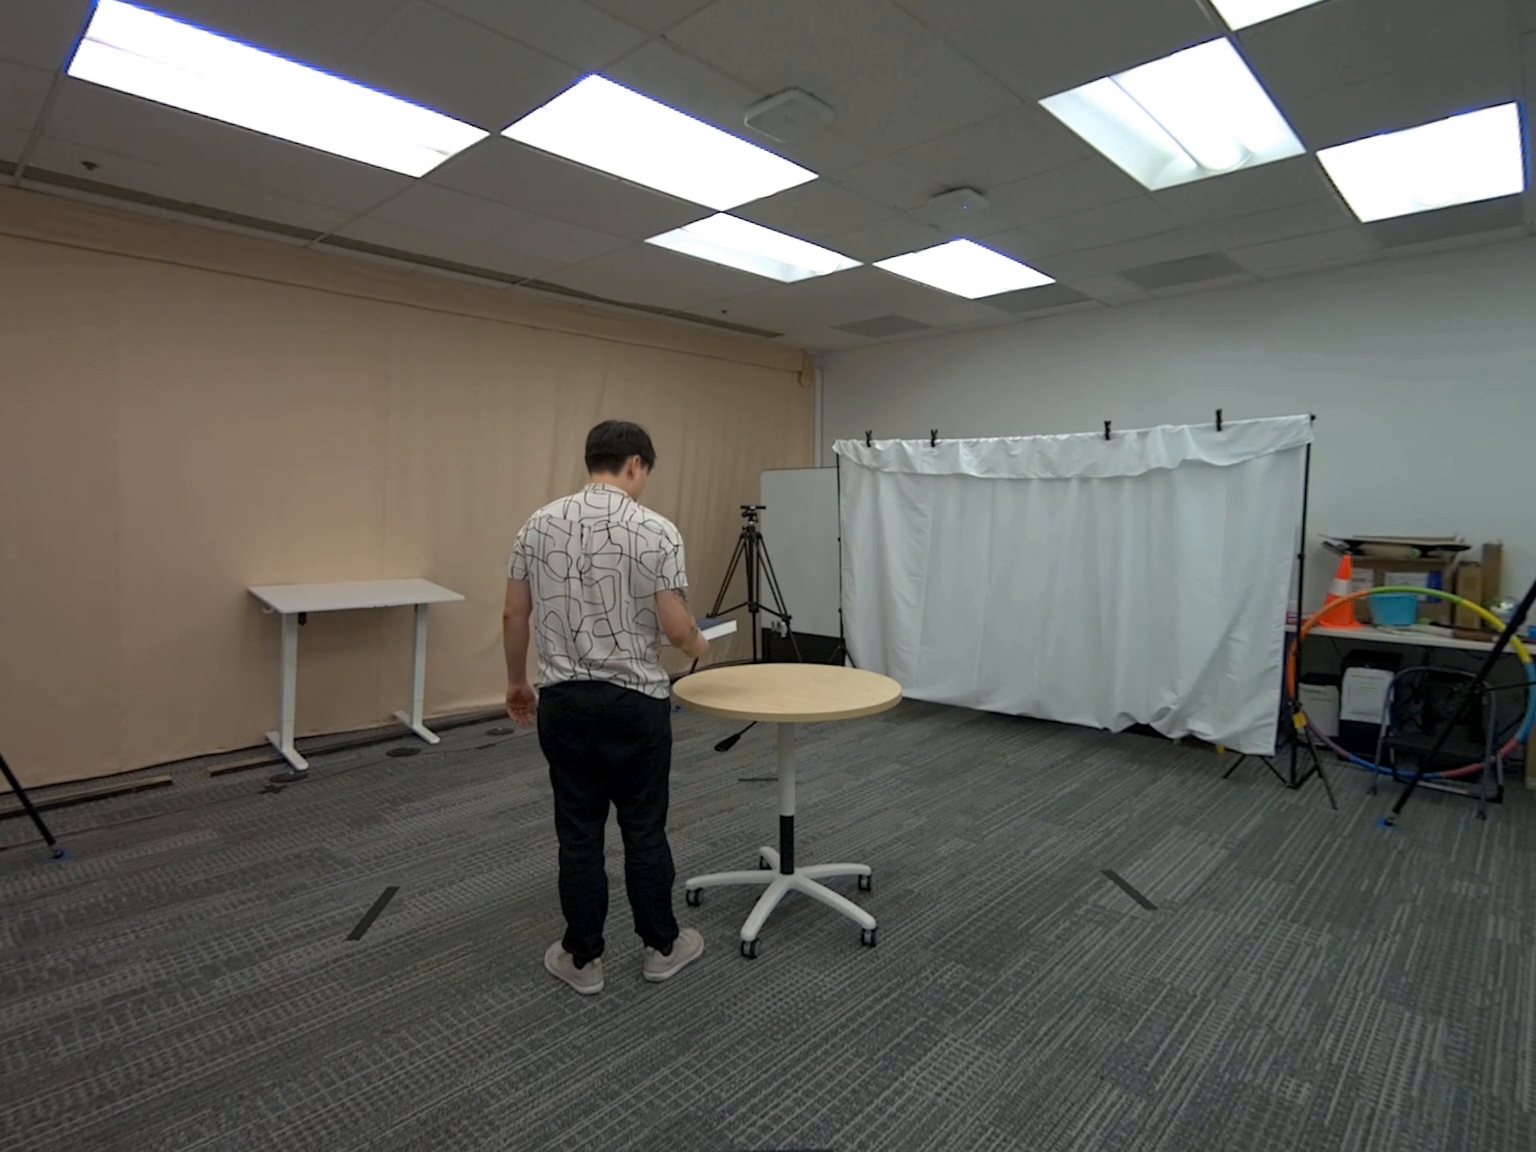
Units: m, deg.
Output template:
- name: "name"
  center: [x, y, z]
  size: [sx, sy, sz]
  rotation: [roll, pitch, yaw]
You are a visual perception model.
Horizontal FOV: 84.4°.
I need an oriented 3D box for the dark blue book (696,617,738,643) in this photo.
- name: "dark blue book"
  center: [-0.230, 0.186, 2.797]
  size: [0.168, 0.045, 0.238]
  rotation: [0, 9, 39]
